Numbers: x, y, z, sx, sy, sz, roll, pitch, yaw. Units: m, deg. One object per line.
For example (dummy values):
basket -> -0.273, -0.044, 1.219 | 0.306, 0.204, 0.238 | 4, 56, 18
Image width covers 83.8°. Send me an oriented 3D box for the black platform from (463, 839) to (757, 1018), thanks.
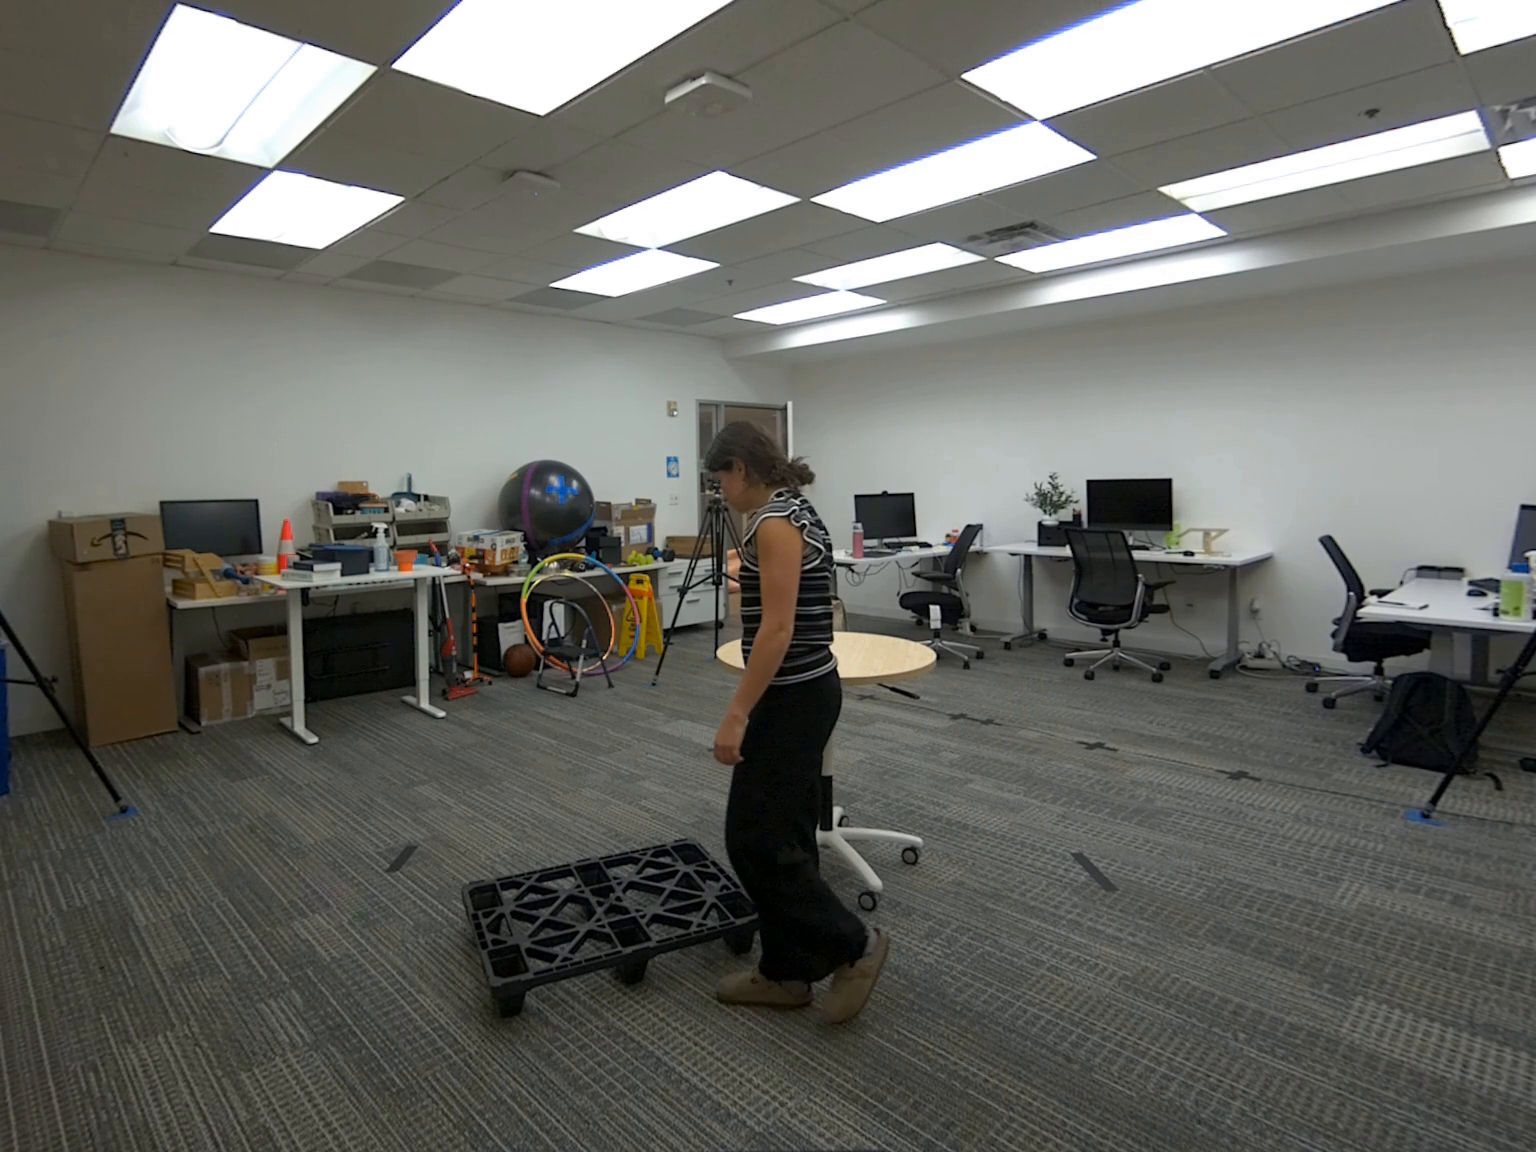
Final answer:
black platform -> -0.477, 1.048, 2.592 | 0.789, 0.143, 0.620 | -4, 7, -25
